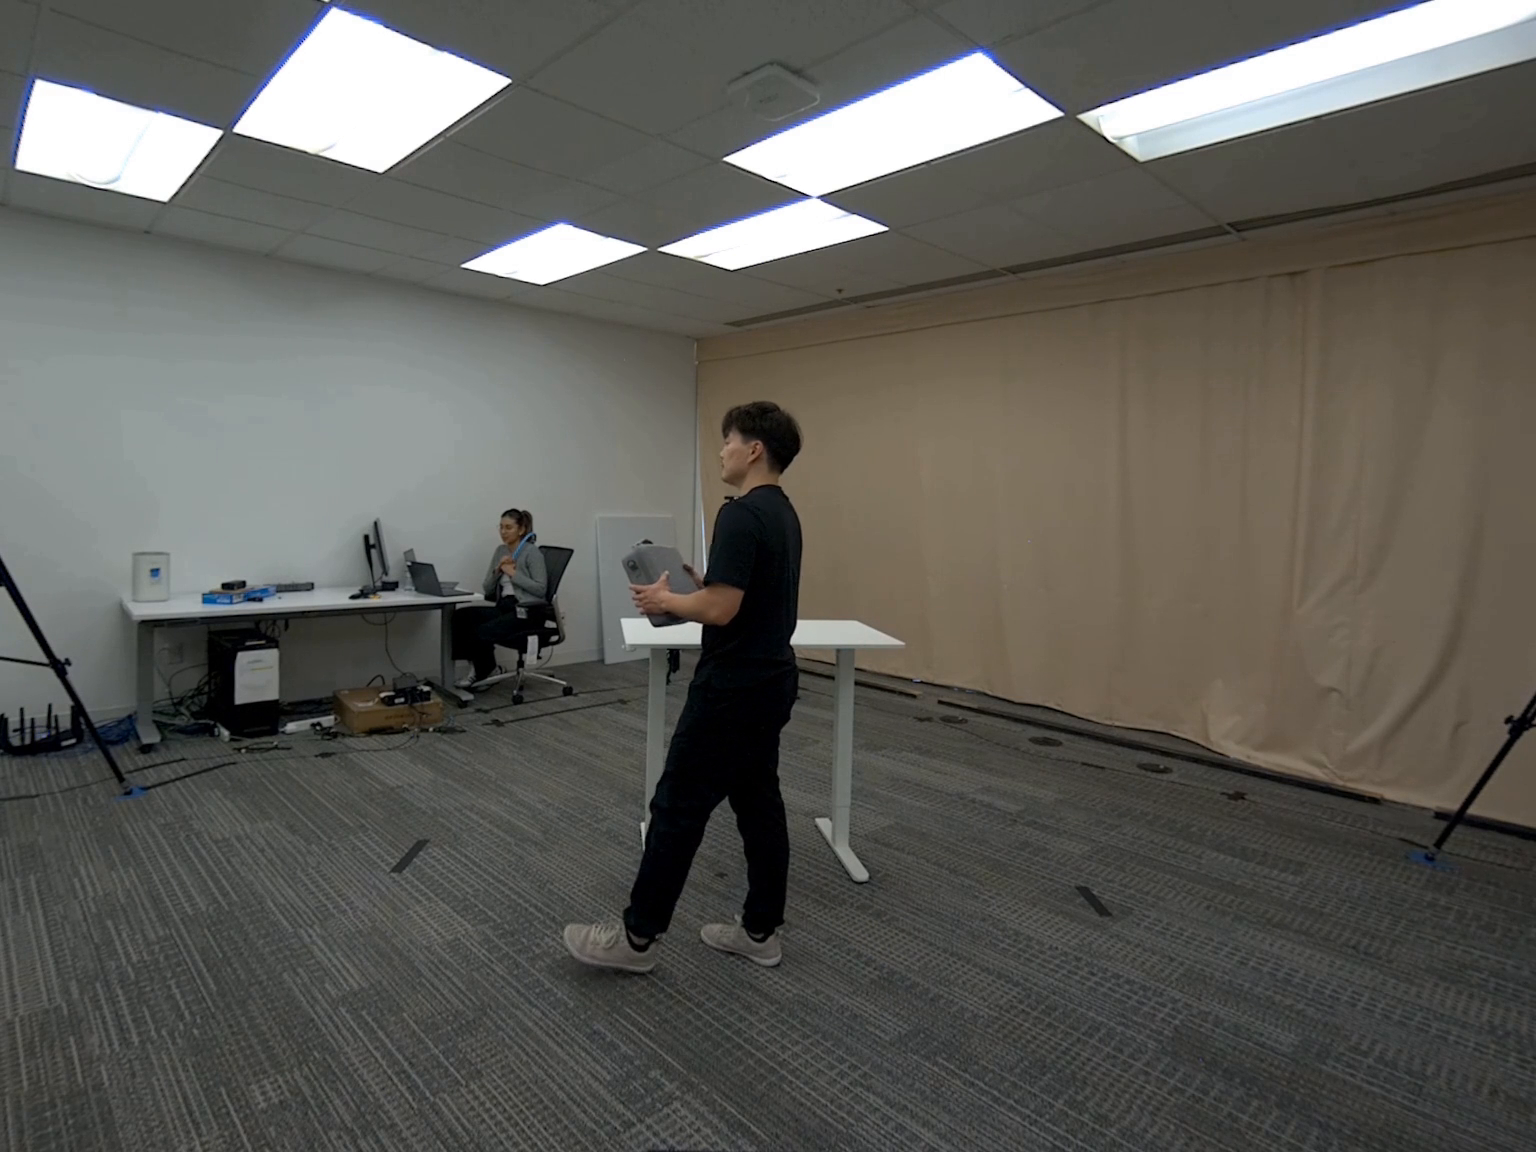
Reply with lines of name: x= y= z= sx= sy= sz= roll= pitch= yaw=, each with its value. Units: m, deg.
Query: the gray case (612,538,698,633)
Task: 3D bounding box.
gray case: x=-0.327 y=0.027 z=2.628 sx=0.105 sy=0.264 sz=0.252 roll=-30 pitch=-12 yaw=16
